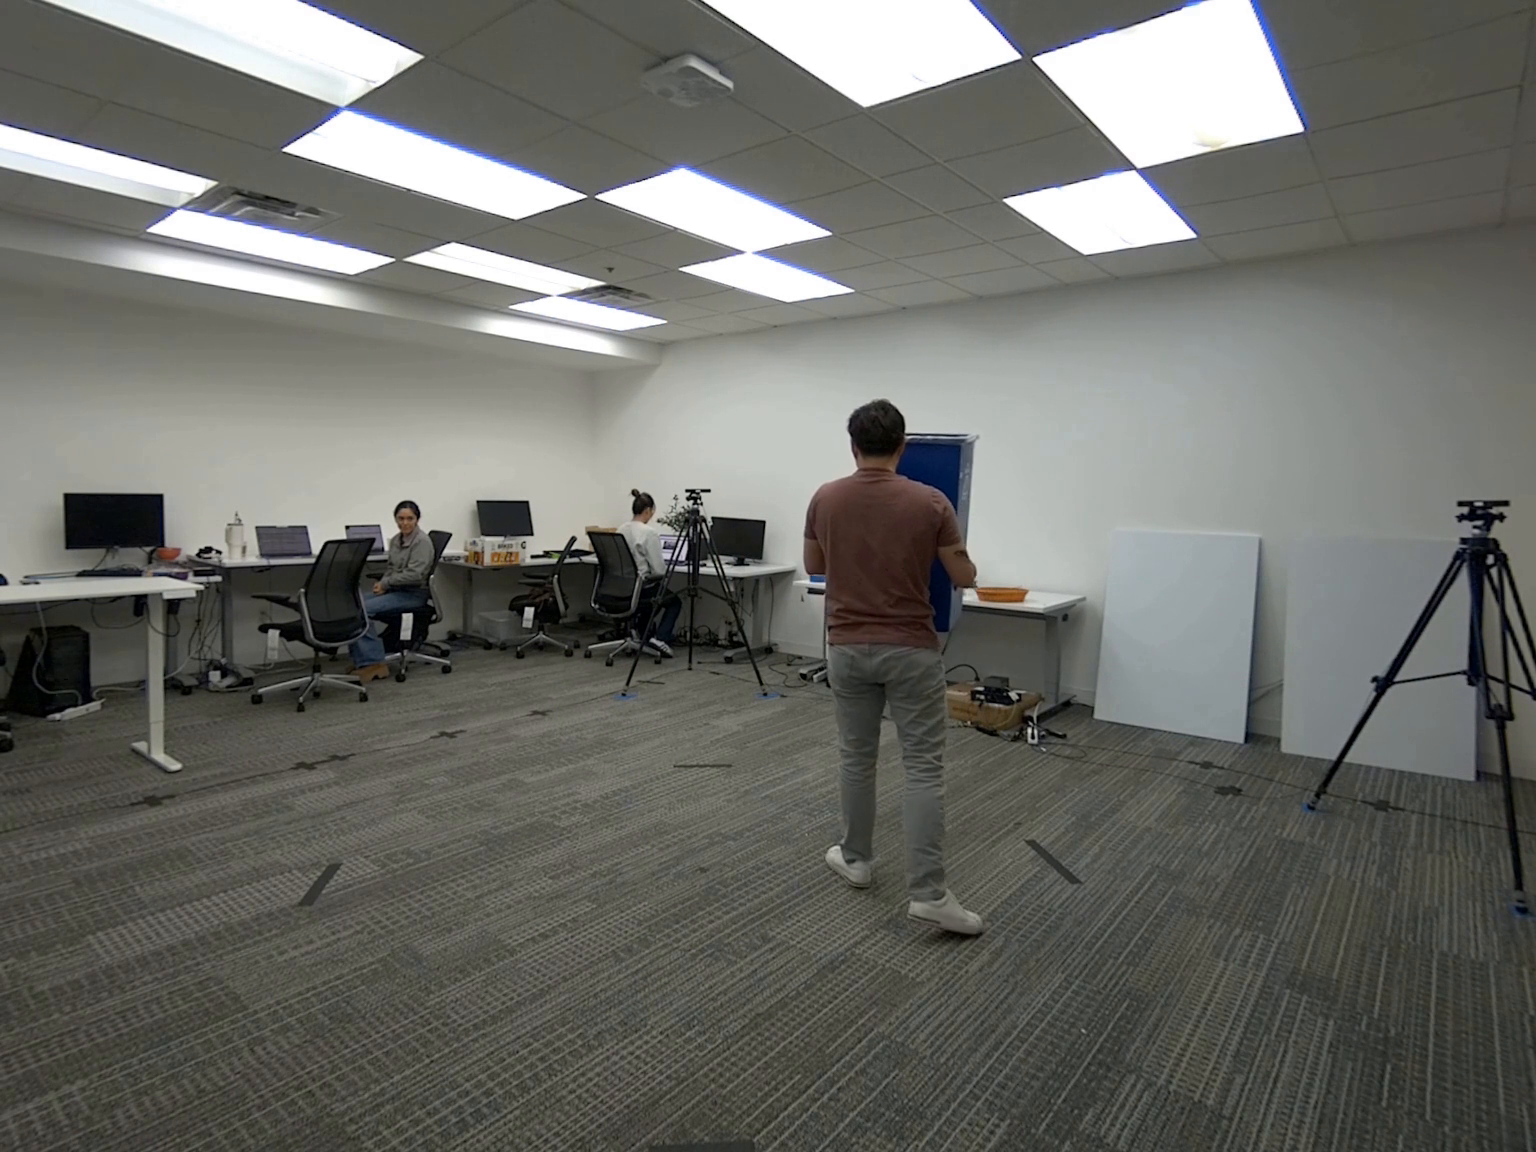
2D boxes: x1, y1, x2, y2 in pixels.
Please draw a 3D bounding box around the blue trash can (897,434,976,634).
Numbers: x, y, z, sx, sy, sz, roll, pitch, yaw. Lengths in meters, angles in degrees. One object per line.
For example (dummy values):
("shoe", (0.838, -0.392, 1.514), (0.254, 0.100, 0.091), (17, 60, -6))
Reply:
("blue trash can", (0.577, -0.185, 3.237), (0.388, 0.707, 0.368), (5, 11, 24))
